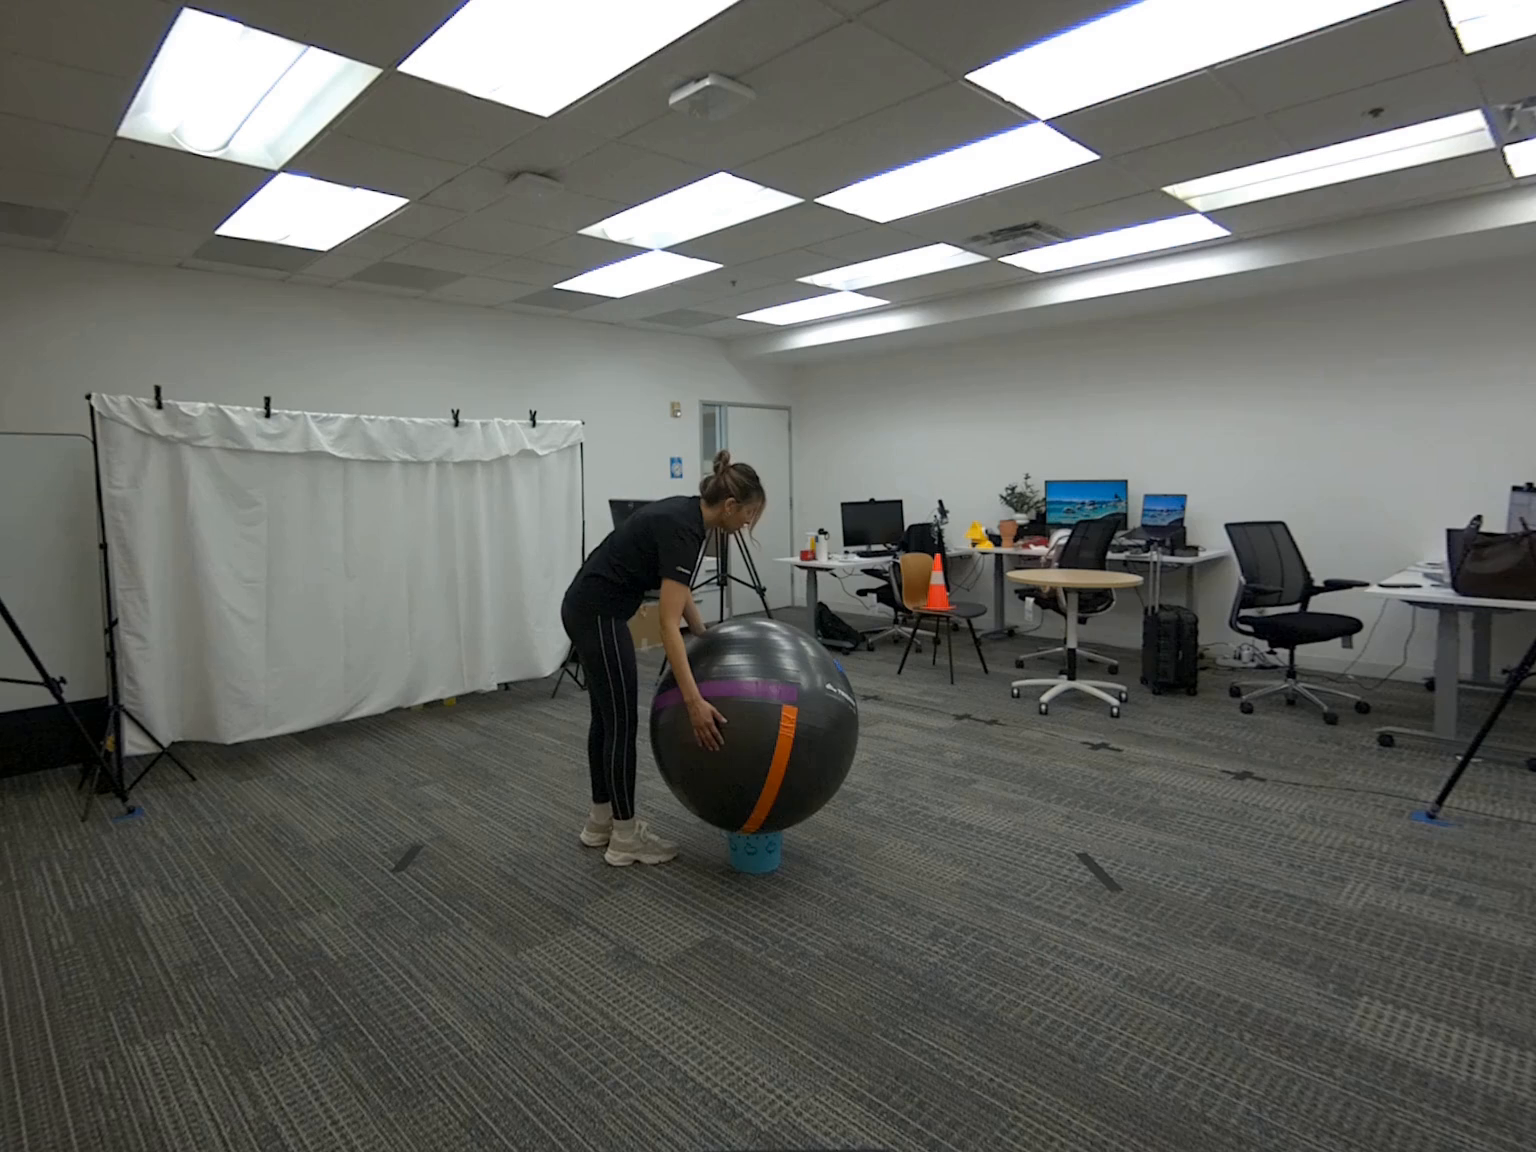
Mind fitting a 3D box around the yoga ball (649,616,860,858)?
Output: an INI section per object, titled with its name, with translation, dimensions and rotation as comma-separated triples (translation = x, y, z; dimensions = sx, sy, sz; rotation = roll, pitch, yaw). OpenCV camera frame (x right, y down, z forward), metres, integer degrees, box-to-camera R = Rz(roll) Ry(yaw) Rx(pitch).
[yoga ball]
translation = -0.049, 0.542, 3.105
dimensions = 0.757, 0.755, 0.762
rotation = -1, 5, -2
